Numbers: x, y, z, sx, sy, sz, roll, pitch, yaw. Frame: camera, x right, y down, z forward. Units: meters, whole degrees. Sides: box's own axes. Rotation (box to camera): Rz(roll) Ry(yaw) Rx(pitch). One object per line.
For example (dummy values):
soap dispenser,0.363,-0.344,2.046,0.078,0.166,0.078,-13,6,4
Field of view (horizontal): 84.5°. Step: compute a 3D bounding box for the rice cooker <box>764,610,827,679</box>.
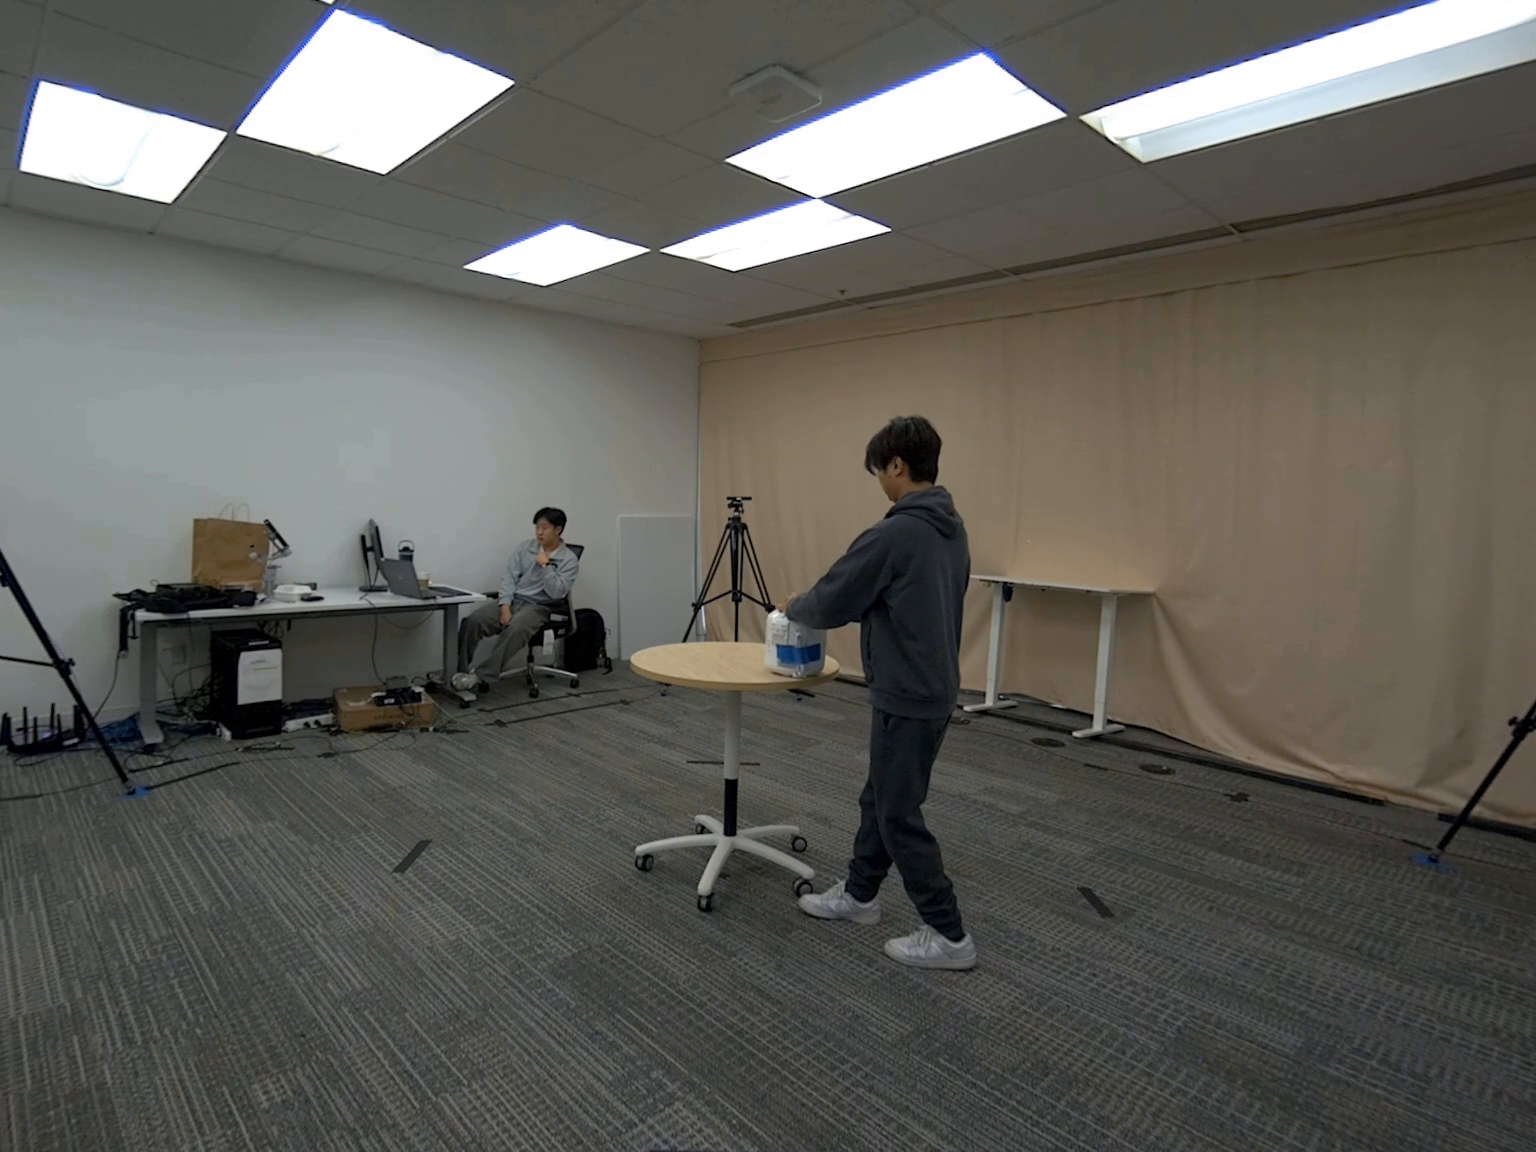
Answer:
rice cooker,0.087,0.215,2.900,0.223,0.232,0.215,10,7,38
